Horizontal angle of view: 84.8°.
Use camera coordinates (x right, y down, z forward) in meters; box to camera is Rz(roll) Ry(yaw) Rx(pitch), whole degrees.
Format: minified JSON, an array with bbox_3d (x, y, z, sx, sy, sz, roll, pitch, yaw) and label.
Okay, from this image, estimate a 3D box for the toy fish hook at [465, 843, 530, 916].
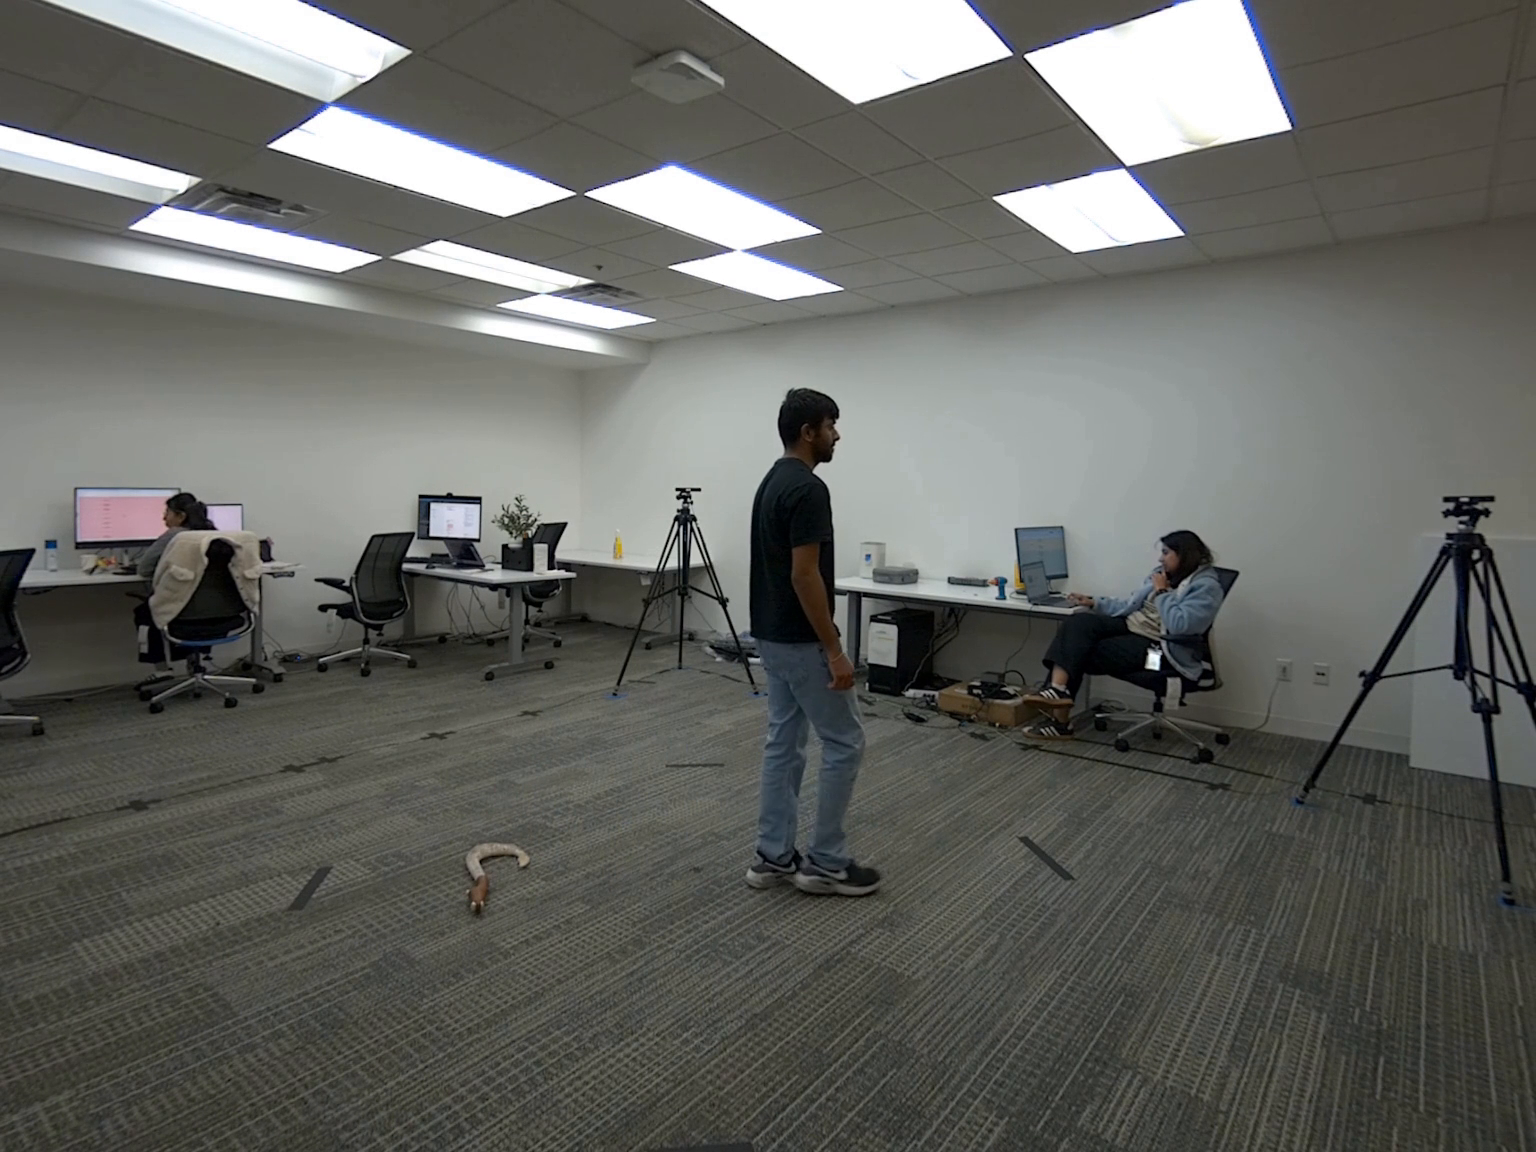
[{"bbox_3d":[-0.965,1.045,2.990,0.221,0.048,0.516,-2,6,-14],"label":"toy fish hook"}]
